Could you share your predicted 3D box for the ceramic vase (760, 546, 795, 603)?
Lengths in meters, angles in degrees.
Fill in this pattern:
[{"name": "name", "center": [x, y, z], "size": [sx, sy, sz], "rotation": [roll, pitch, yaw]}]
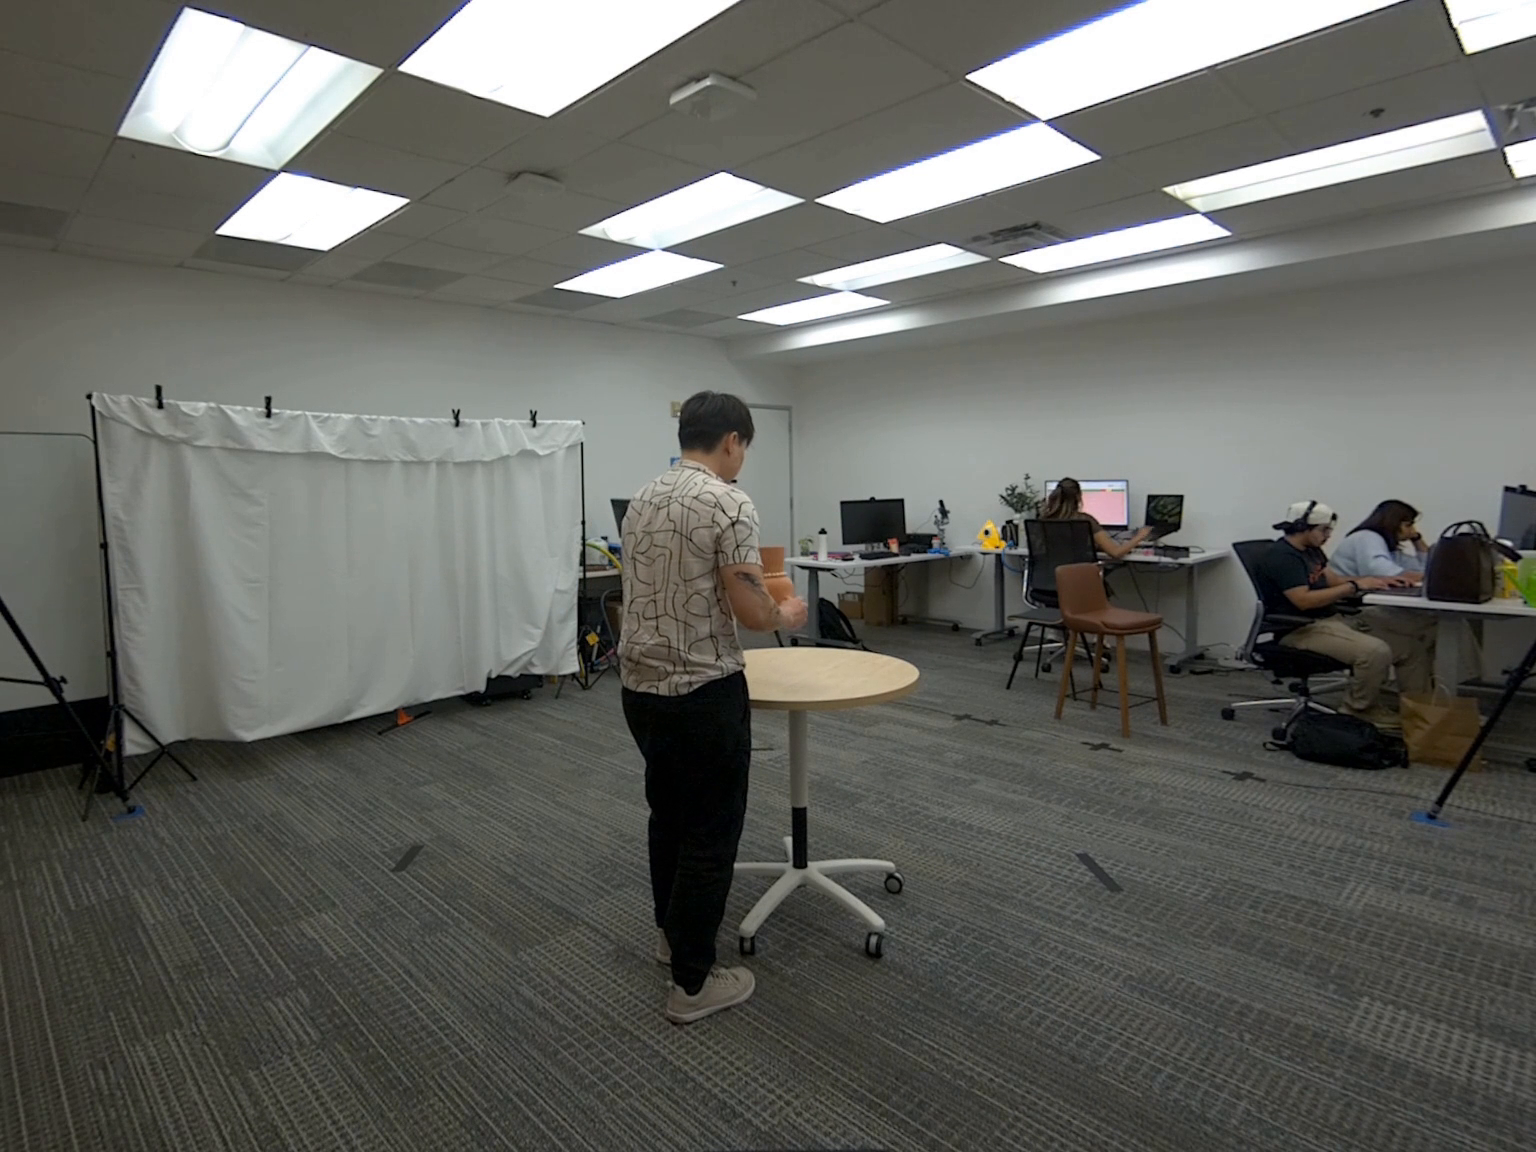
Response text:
[{"name": "ceramic vase", "center": [0.009, 0.025, 2.501], "size": [0.160, 0.219, 0.133], "rotation": [-4, 1, 11]}]
